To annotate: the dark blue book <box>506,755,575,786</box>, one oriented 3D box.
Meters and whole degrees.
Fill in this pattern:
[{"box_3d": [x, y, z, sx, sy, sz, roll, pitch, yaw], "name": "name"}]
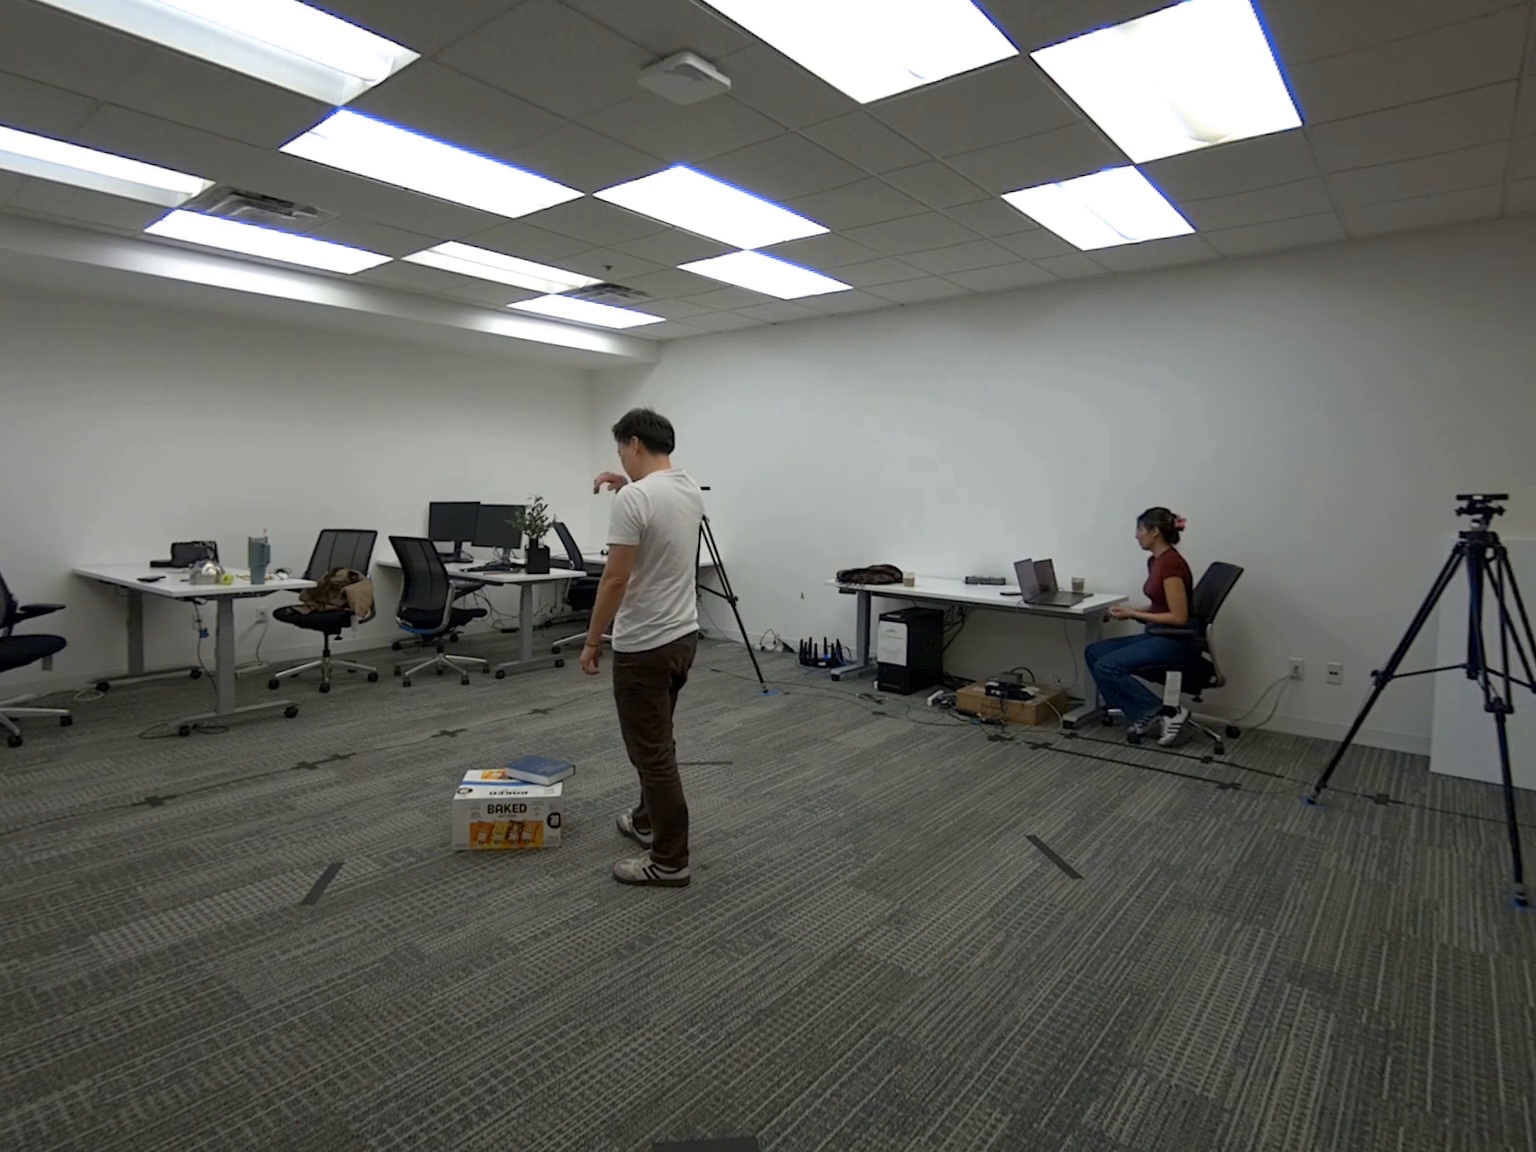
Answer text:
[{"box_3d": [-0.954, 0.797, 3.488, 0.252, 0.045, 0.159, 4, 8, 29], "name": "dark blue book"}]
